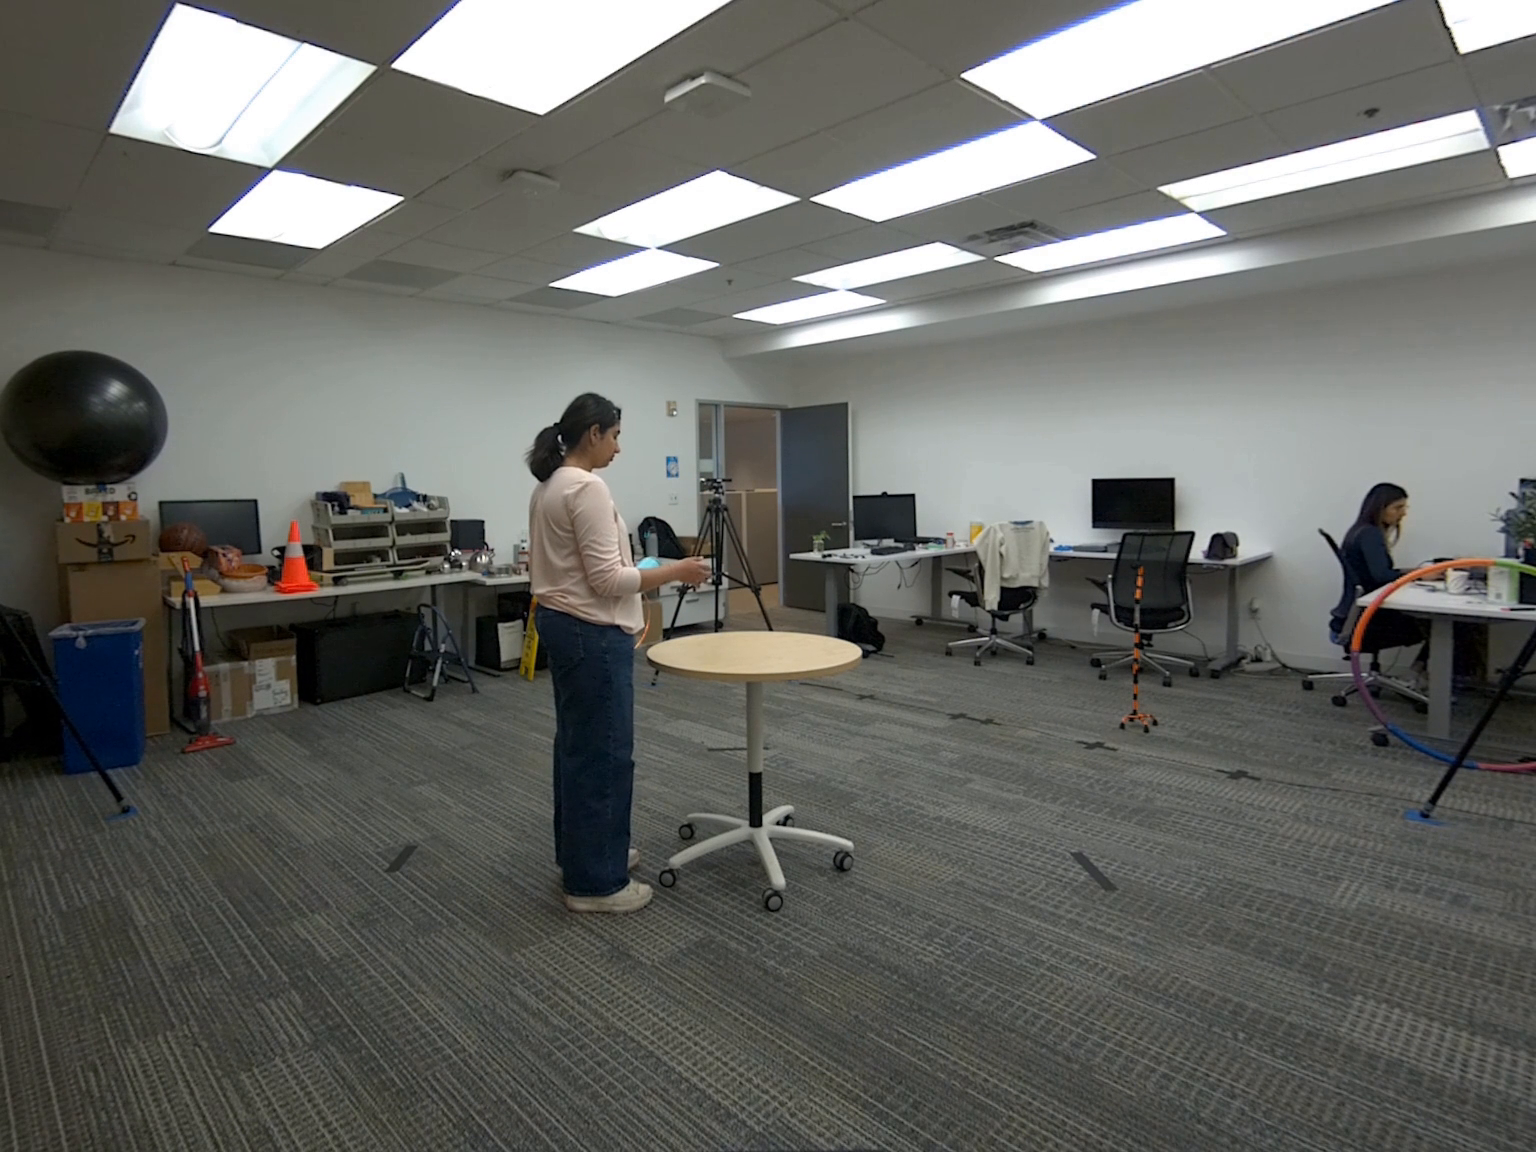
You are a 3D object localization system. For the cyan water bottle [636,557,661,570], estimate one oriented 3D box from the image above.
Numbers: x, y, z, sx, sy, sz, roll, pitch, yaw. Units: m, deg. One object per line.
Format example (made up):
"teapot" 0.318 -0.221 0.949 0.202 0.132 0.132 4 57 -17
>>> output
"cyan water bottle" -0.478 0.000 3.212 0.094 0.091 0.283 0 17 15
